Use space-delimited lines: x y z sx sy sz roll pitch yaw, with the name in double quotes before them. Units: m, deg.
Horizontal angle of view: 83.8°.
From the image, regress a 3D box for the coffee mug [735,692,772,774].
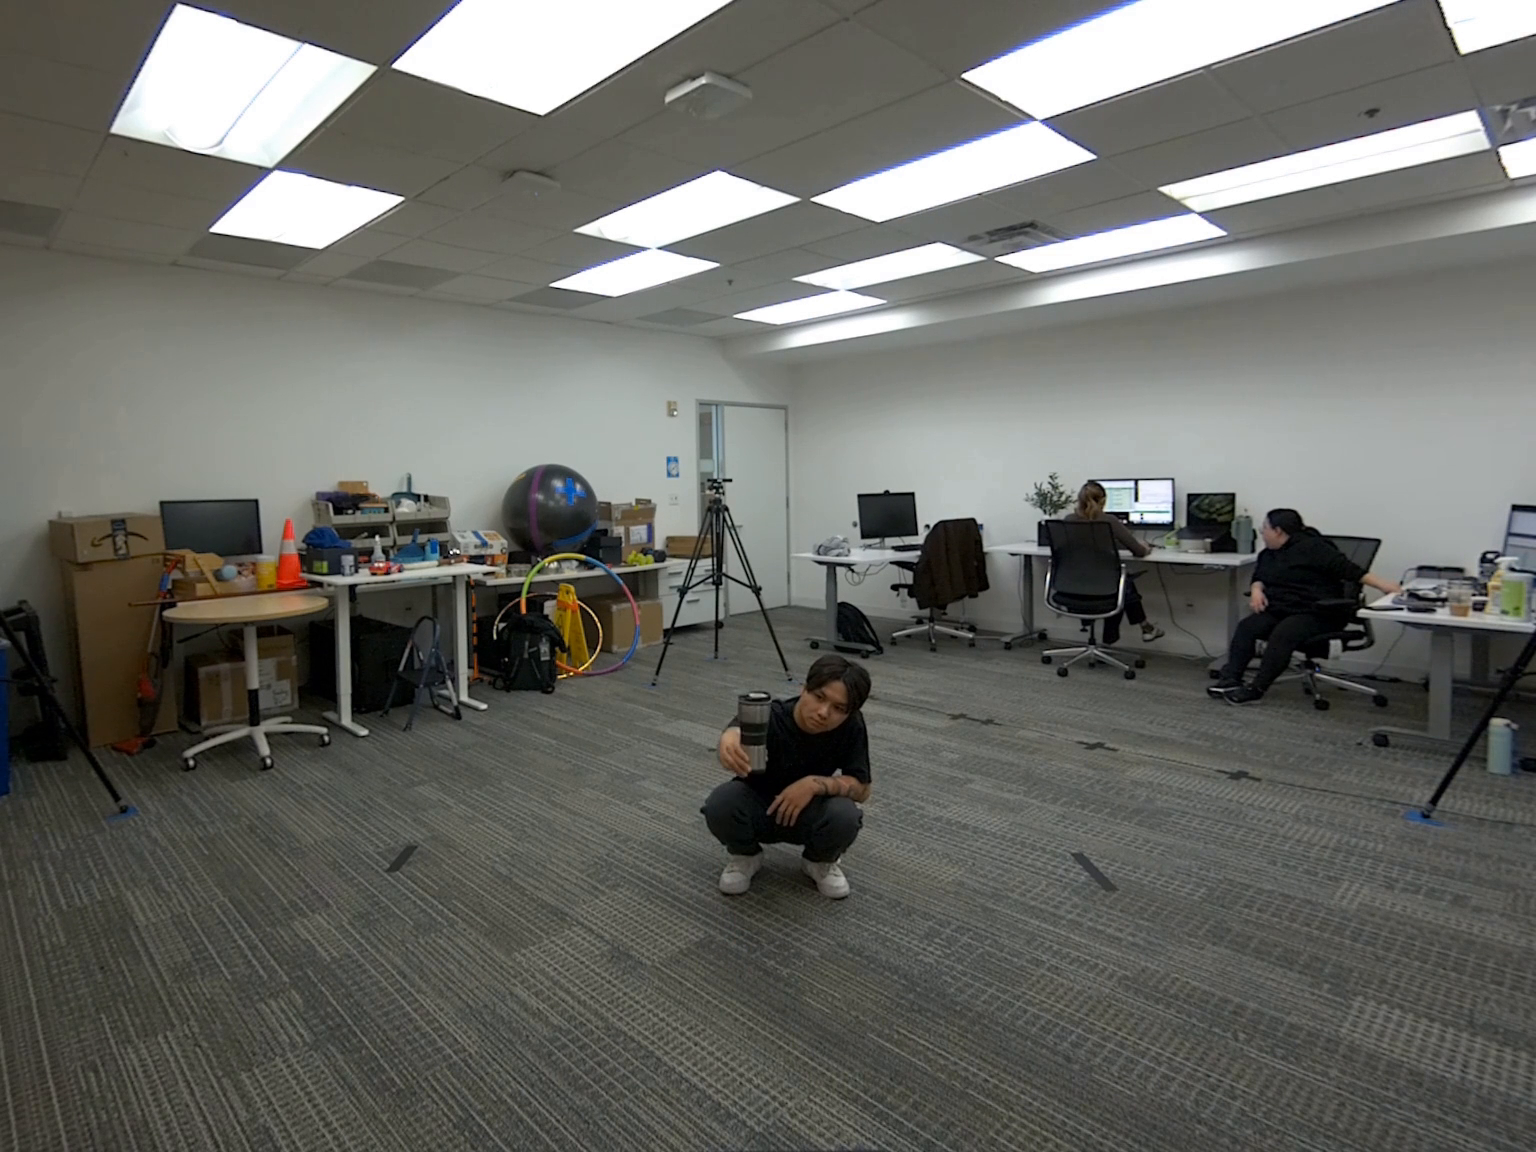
"coffee mug" -0.017 0.424 2.262 0.090 0.203 0.118 -3 -2 41
